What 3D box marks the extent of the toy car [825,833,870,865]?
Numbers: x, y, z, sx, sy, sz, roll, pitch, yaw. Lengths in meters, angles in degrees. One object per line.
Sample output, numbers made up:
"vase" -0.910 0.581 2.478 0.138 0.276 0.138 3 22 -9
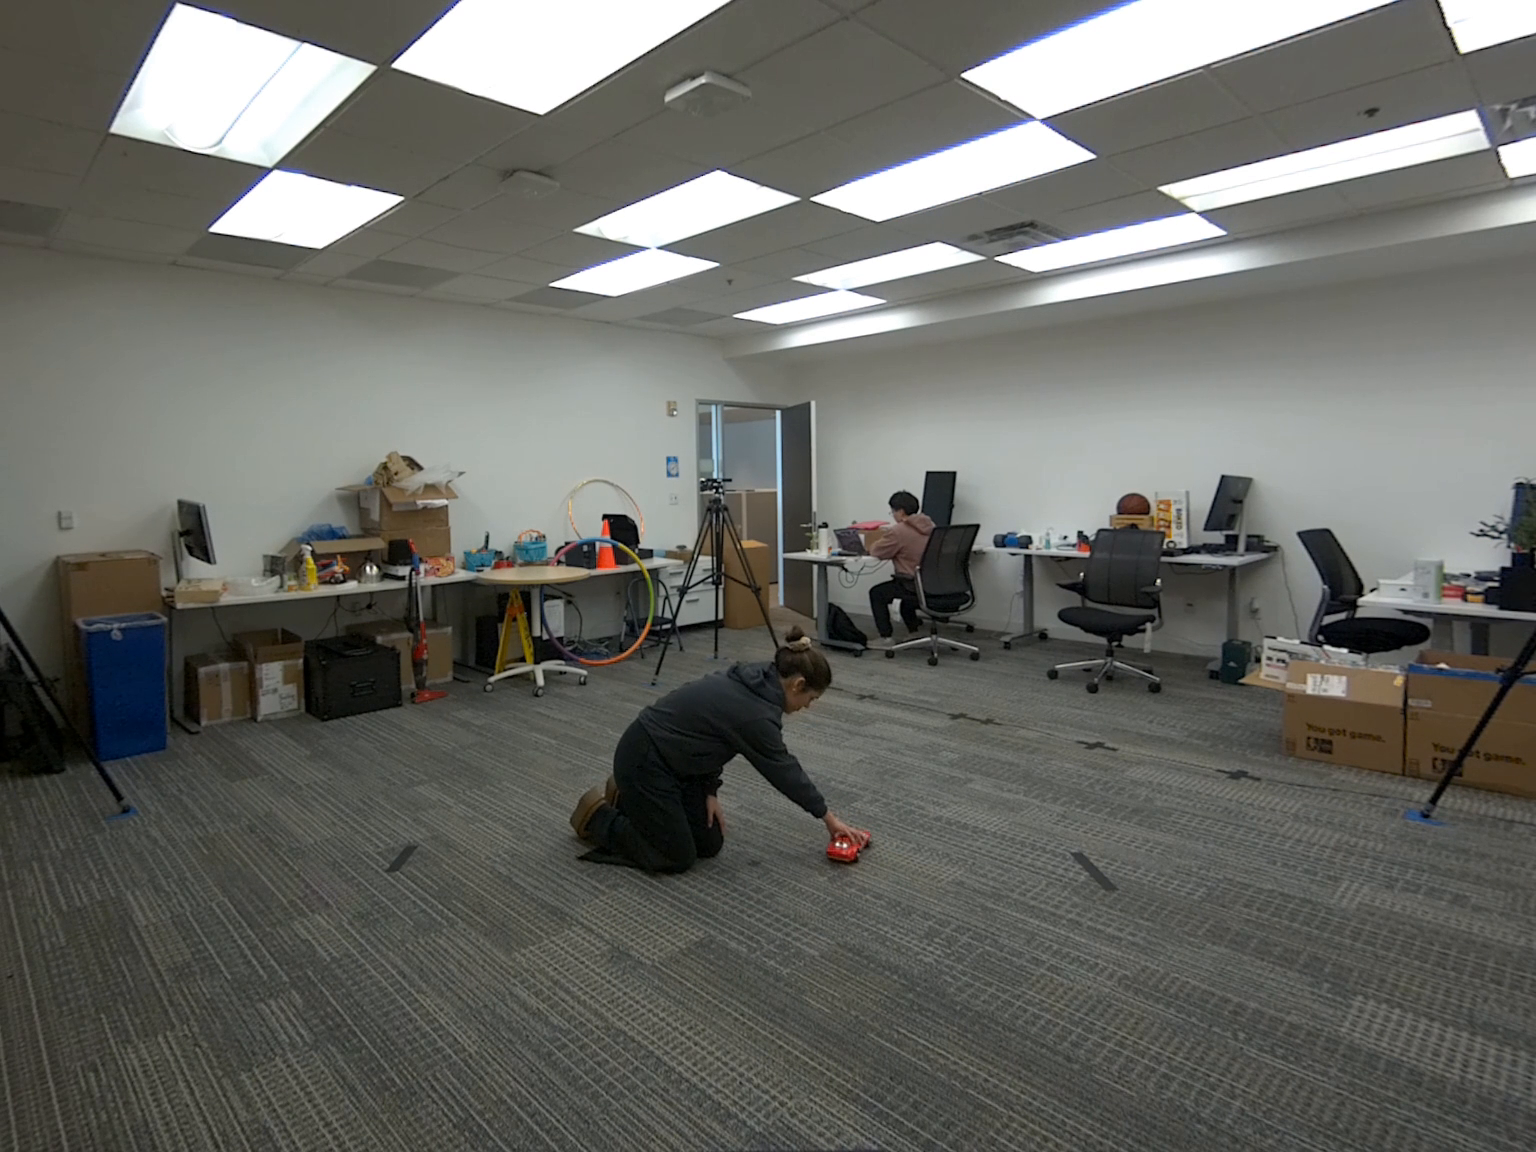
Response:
"toy car" 0.293 0.998 3.148 0.133 0.083 0.247 2 -4 26
